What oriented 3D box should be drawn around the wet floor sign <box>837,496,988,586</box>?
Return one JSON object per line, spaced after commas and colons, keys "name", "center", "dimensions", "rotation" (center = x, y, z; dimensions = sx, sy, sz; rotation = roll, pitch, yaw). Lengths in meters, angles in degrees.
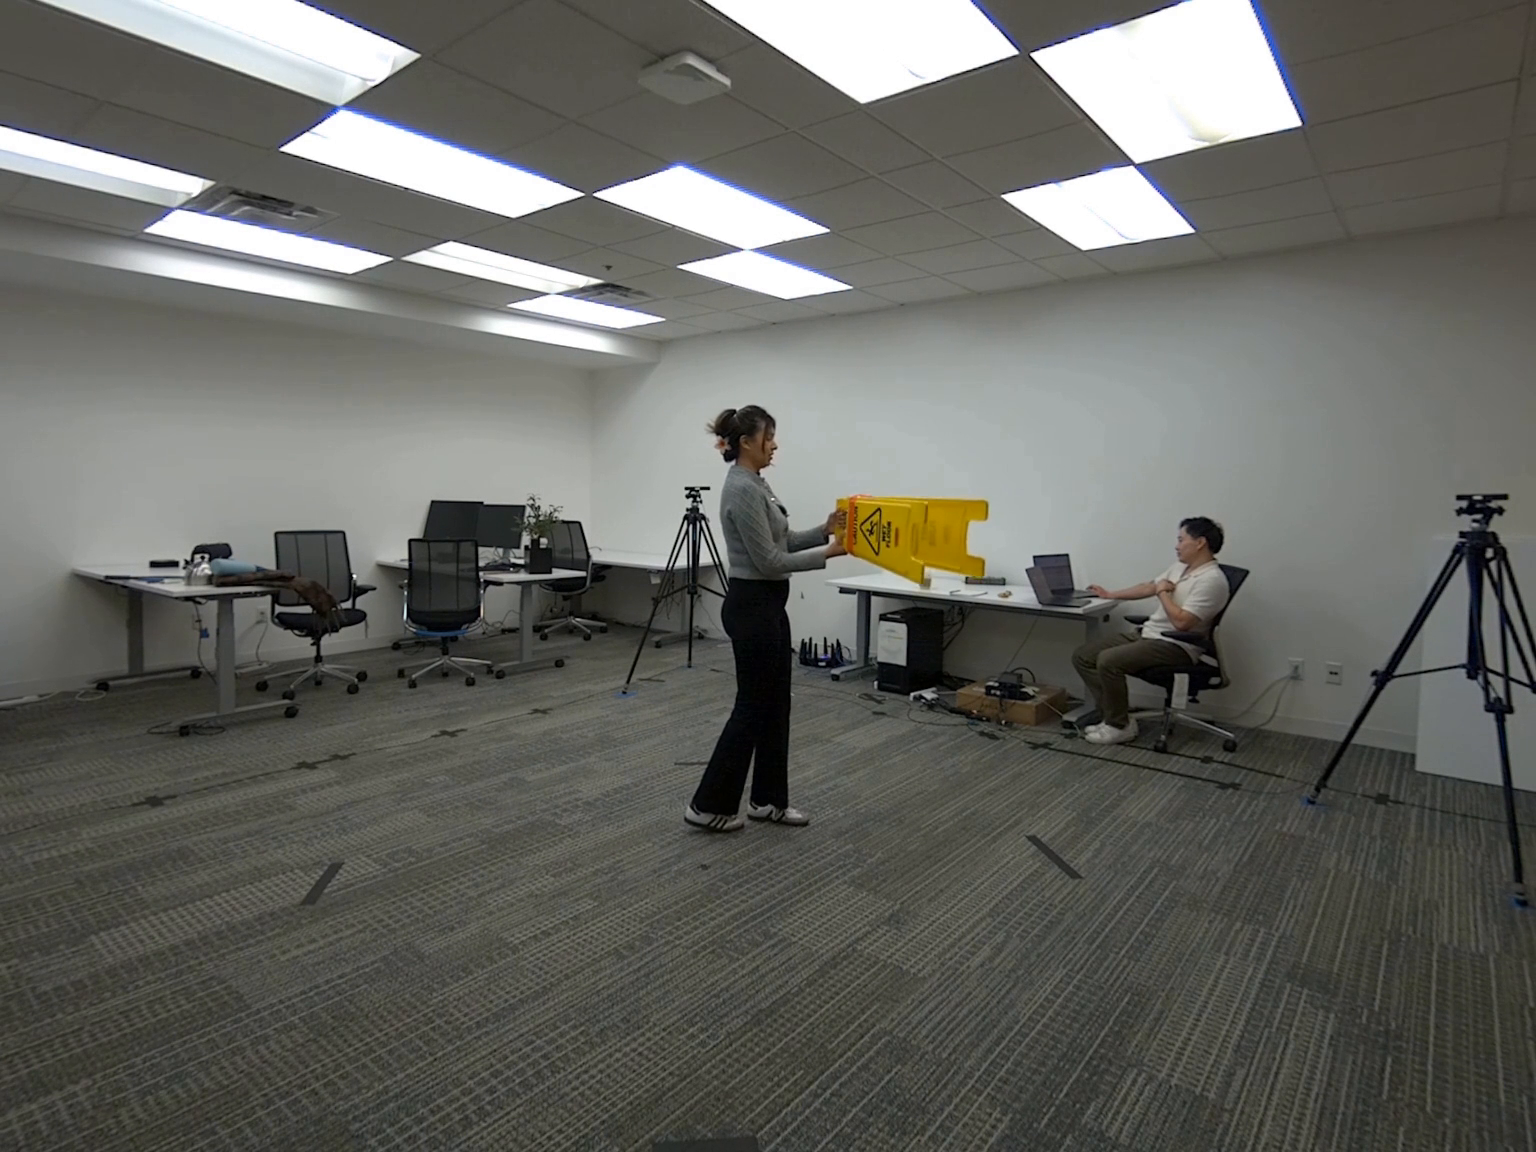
{"name": "wet floor sign", "center": [0.455, -0.169, 3.183], "dimensions": [0.282, 0.280, 0.668], "rotation": [-4, 11, -32]}
